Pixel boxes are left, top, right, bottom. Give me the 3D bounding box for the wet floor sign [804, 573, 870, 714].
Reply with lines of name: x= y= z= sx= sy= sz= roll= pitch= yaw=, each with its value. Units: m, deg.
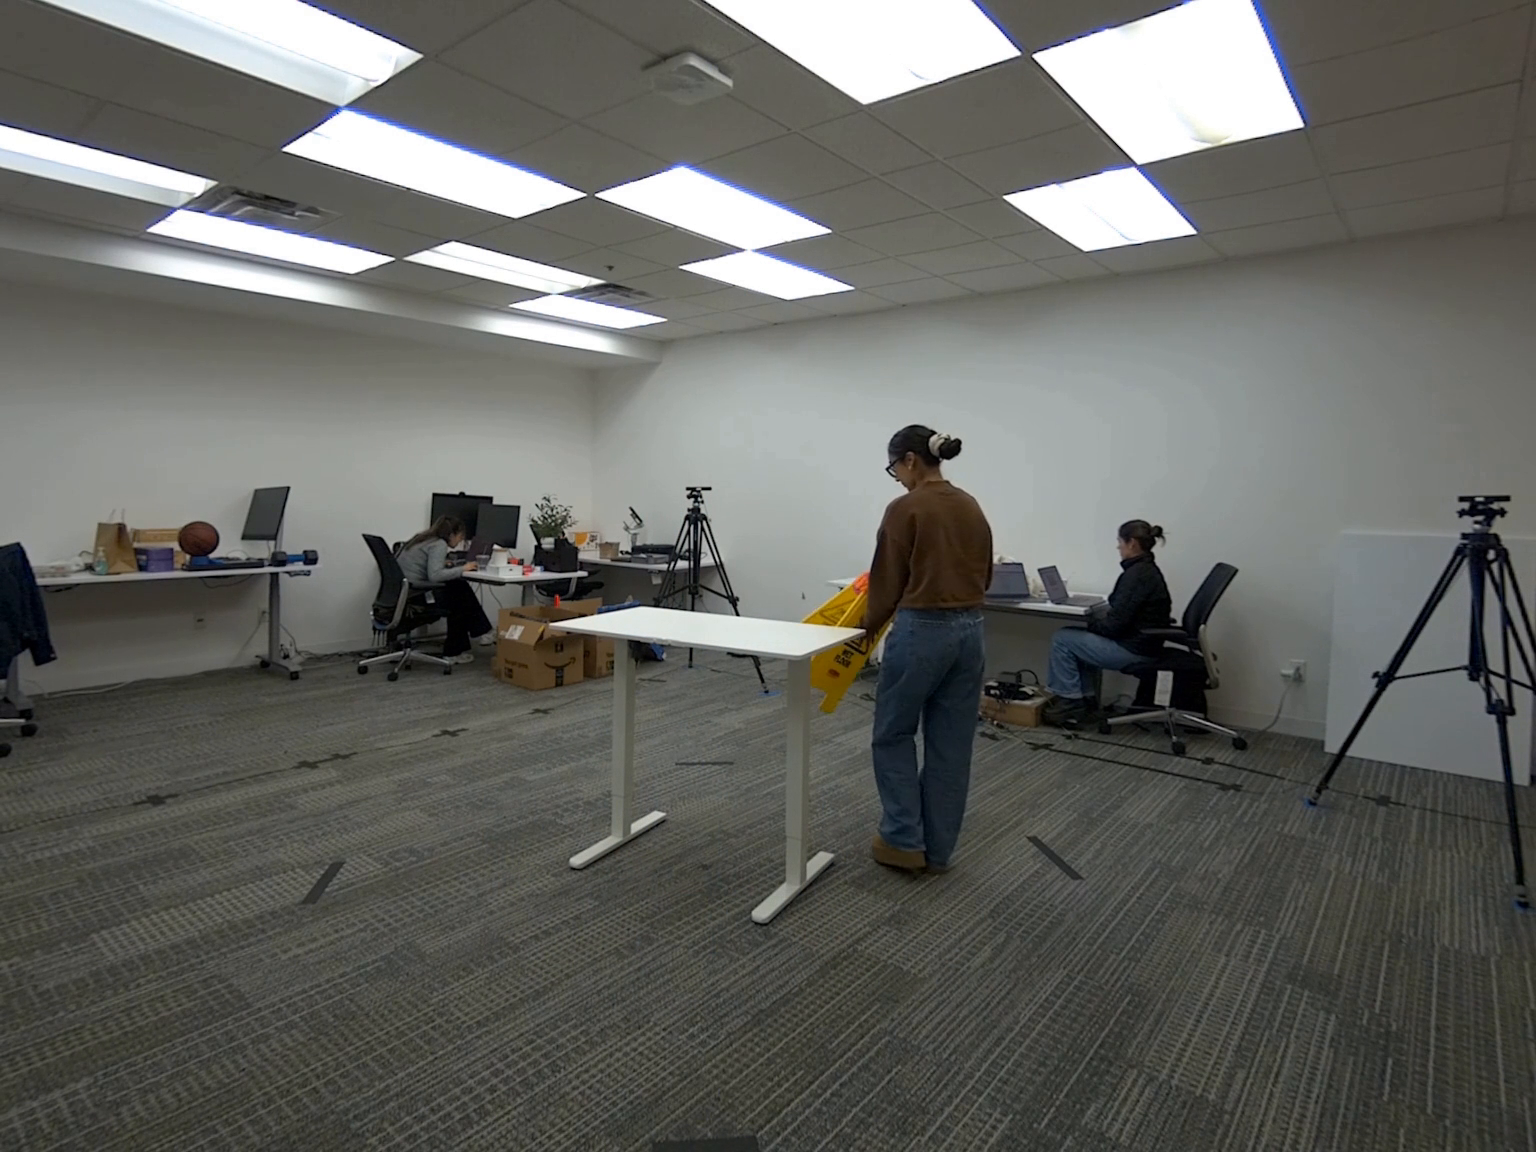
wet floor sign: x=0.304 y=0.193 z=3.388 sx=0.271 sy=0.646 sz=0.302 roll=31 pitch=15 yaw=-38
